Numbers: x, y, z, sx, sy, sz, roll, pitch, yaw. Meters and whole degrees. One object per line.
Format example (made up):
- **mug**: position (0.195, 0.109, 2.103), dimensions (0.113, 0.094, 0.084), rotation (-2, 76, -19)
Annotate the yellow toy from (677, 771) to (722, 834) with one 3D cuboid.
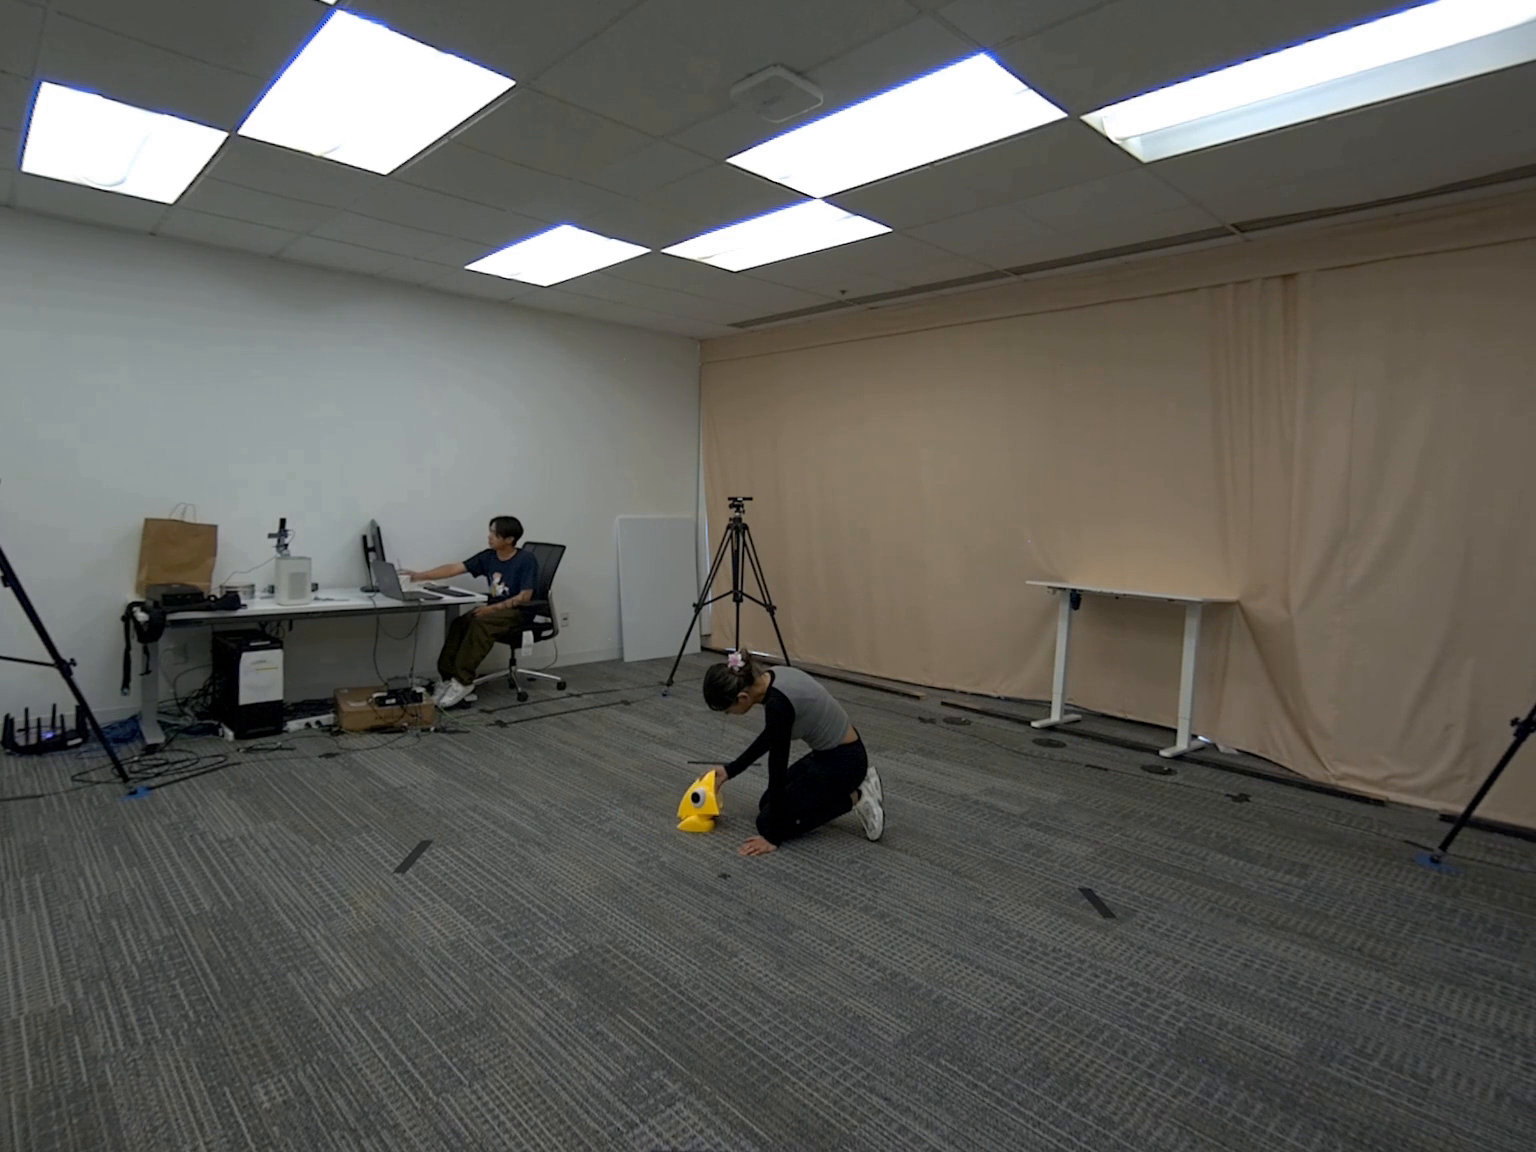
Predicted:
- **yellow toy**: position (-0.297, 0.940, 3.608), dimensions (0.193, 0.230, 0.205), rotation (2, 4, 2)
